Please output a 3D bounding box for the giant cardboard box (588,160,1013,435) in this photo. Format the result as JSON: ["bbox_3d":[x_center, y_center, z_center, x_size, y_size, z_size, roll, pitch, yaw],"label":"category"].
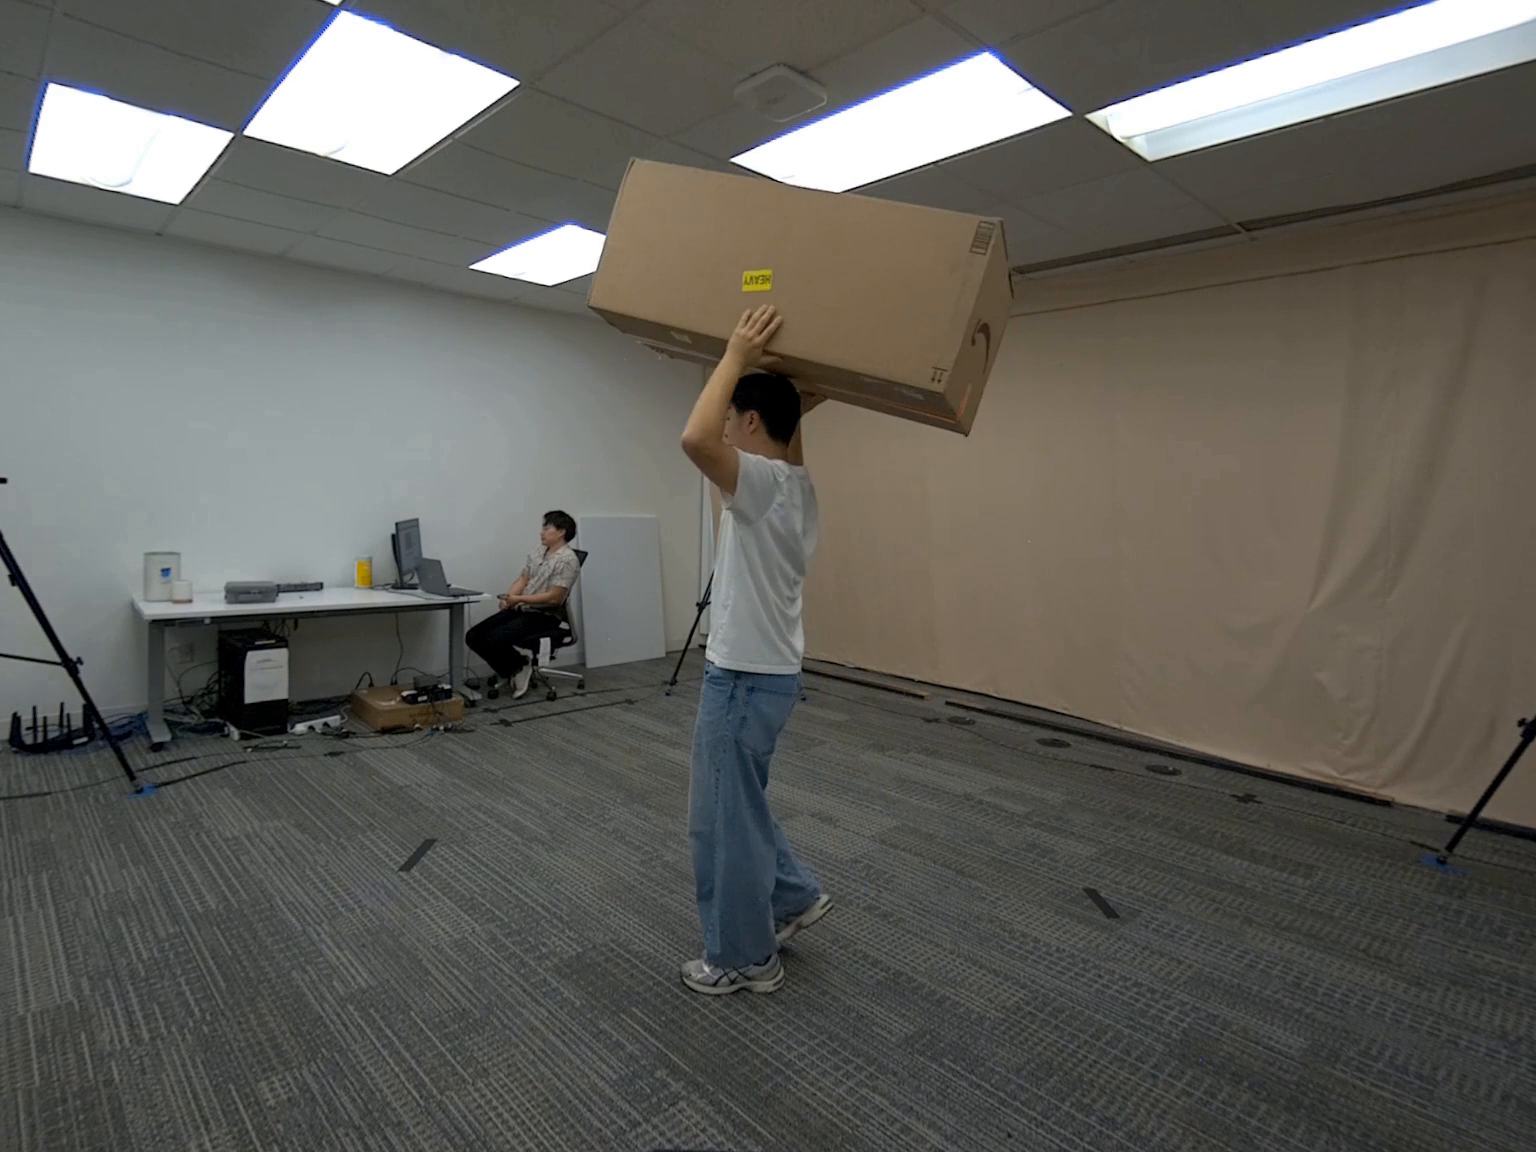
[{"bbox_3d":[0.104,-0.769,2.395,1.046,0.425,0.567,20,4,20],"label":"giant cardboard box"}]
